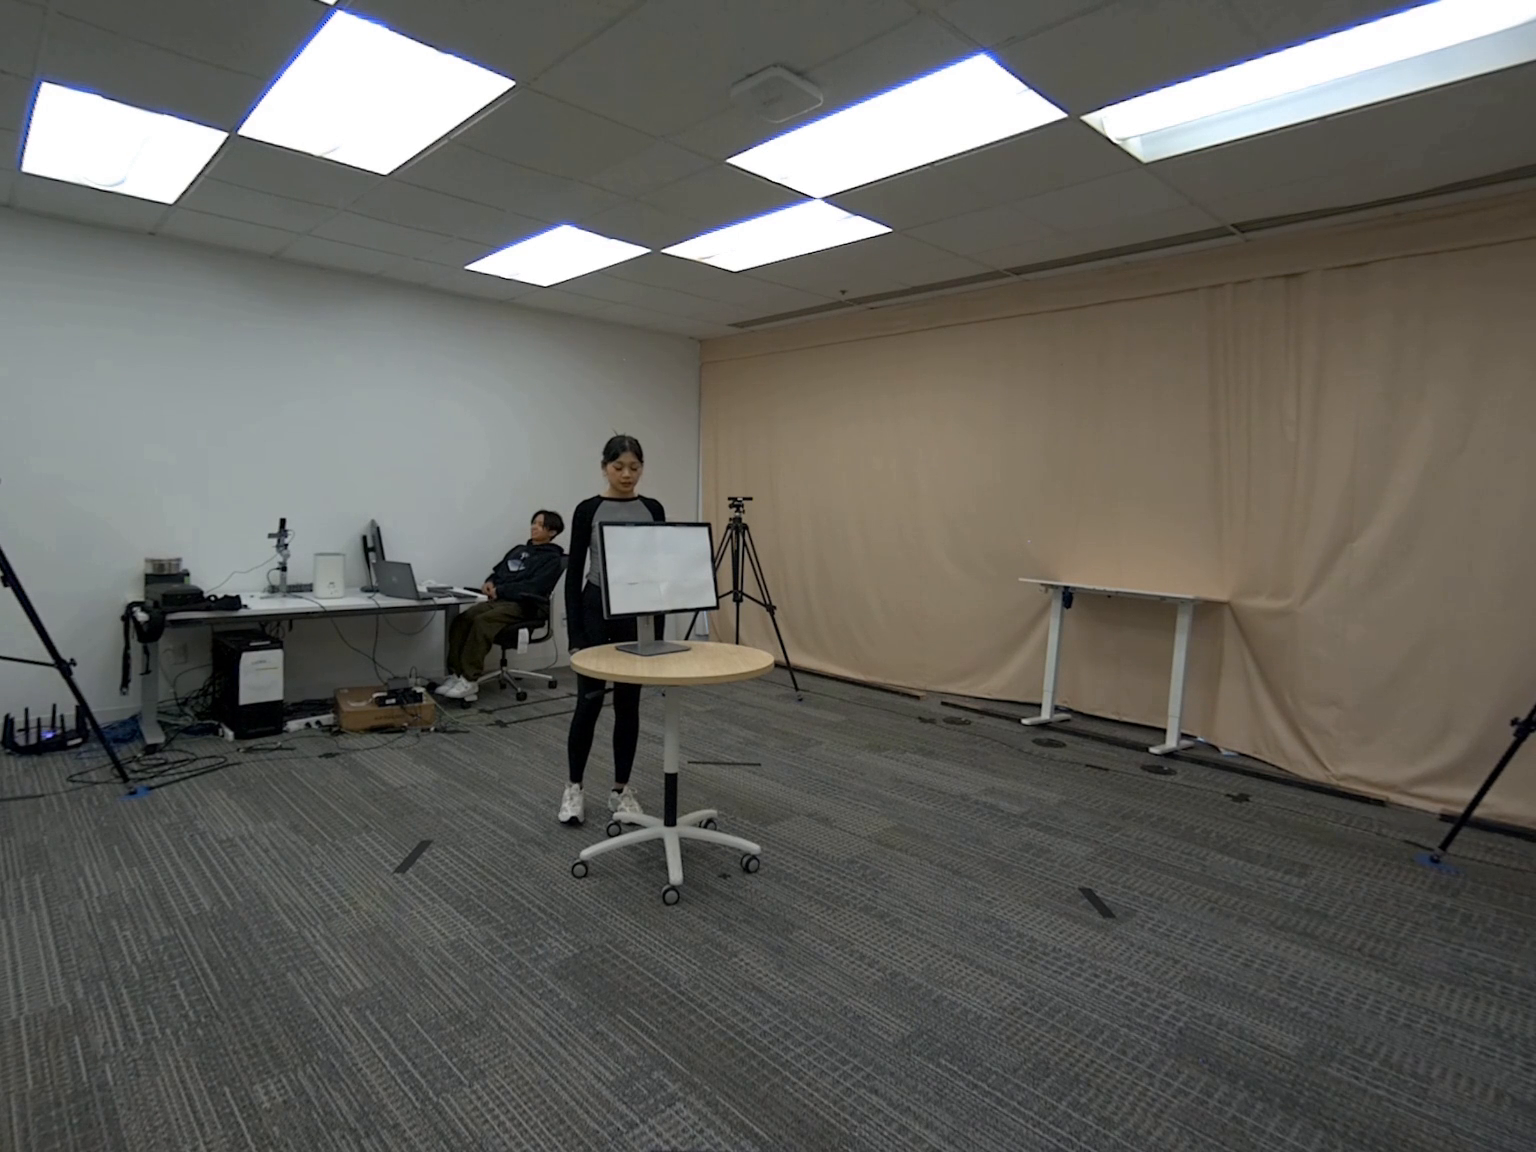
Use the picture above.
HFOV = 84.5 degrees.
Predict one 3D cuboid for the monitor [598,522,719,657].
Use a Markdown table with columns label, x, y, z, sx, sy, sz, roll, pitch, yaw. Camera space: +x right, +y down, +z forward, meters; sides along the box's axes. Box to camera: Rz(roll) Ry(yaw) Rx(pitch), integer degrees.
| label | x | y | z | sx | sy | sz | roll | pitch | yaw |
| --- | --- | --- | --- | --- | --- | --- | --- | --- | --- |
| monitor | -0.459 | 0.047 | 3.326 | 0.192 | 0.521 | 0.526 | 8 | 7 | 43 |
